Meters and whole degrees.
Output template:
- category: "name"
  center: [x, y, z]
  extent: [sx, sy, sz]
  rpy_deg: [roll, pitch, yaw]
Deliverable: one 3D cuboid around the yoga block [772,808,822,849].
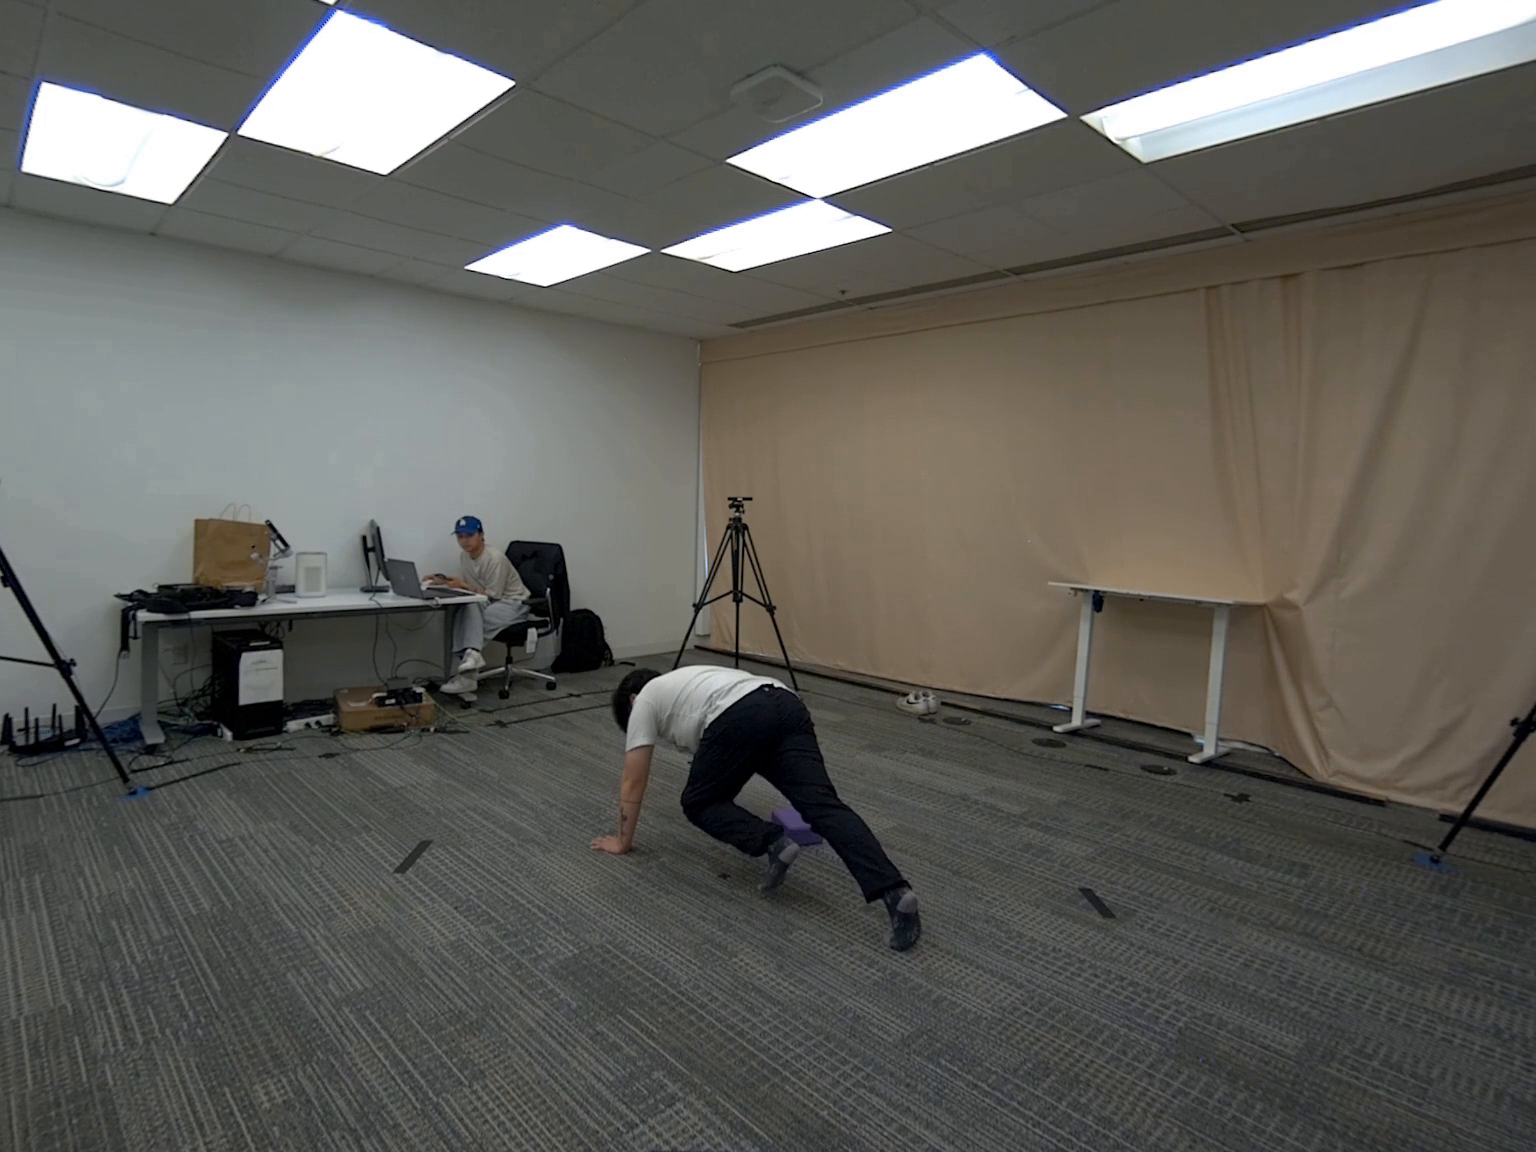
- category: "yoga block"
  center: [0.110, 1.039, 3.504]
  extent: [0.147, 0.076, 0.233]
  rpy_deg: [-1, 5, -18]
